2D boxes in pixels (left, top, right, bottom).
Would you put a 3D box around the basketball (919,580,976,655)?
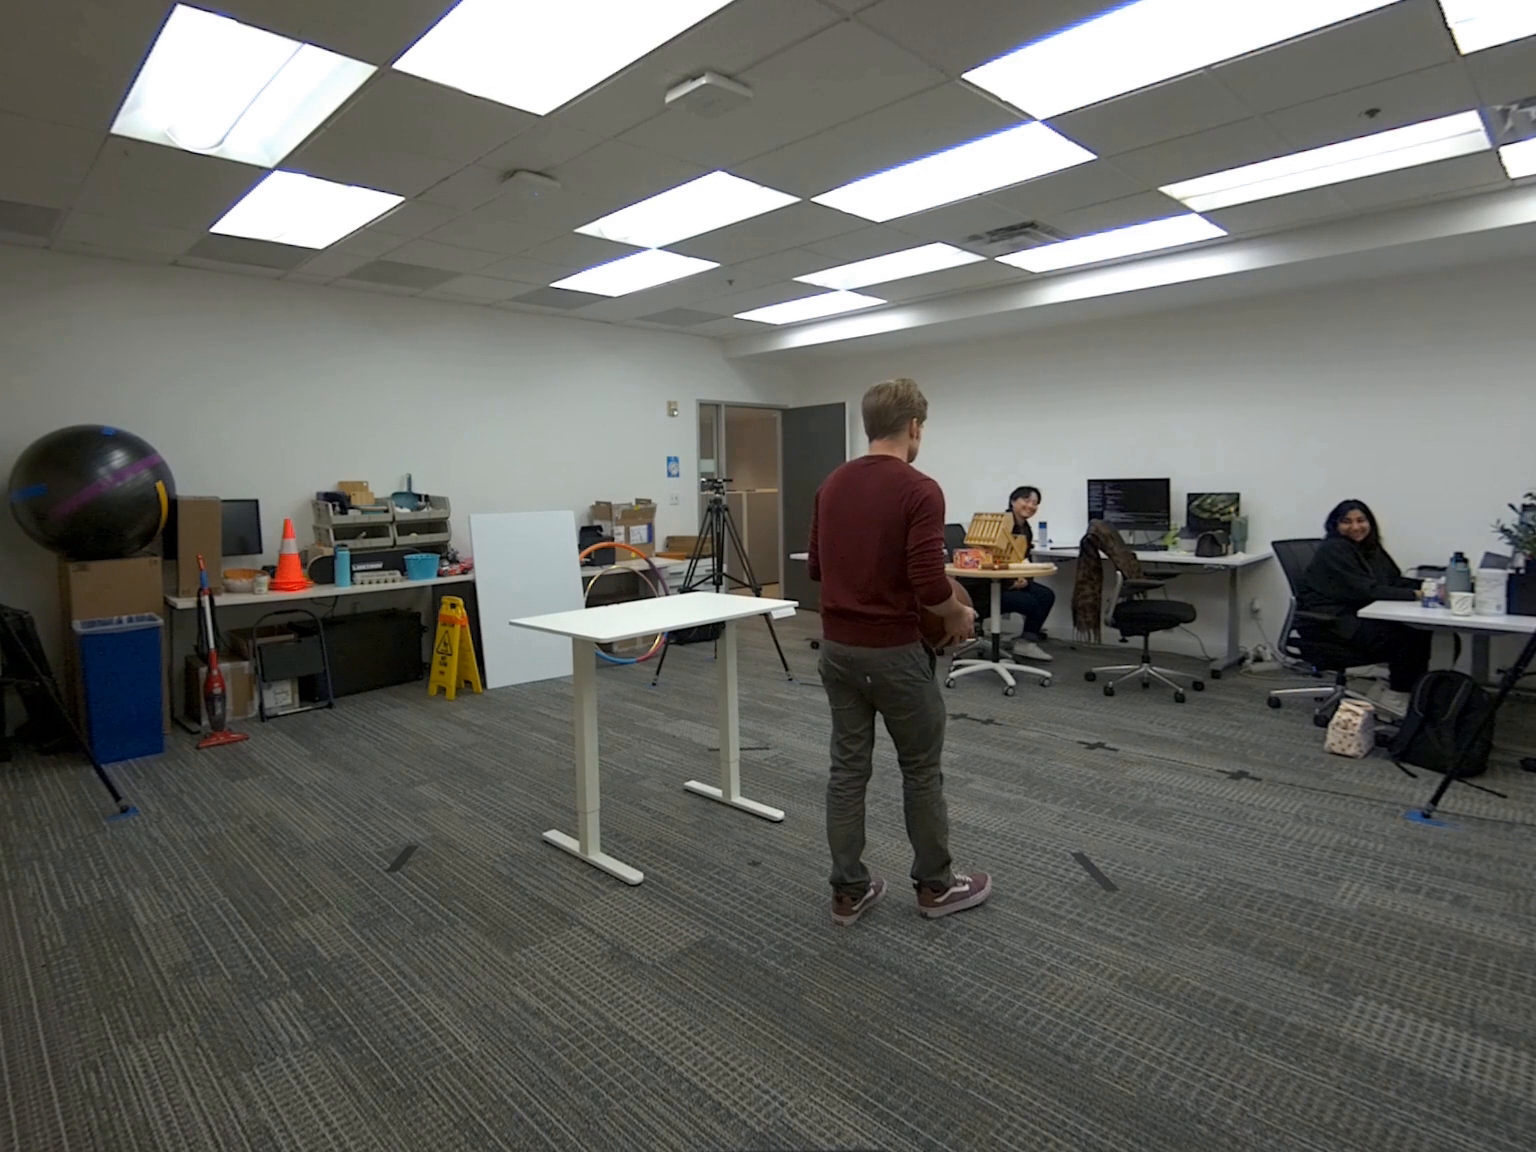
[{"bbox_3d":[0.562,0.112,2.801,0.236,0.235,0.237,-1,5,-2],"label":"basketball"}]
